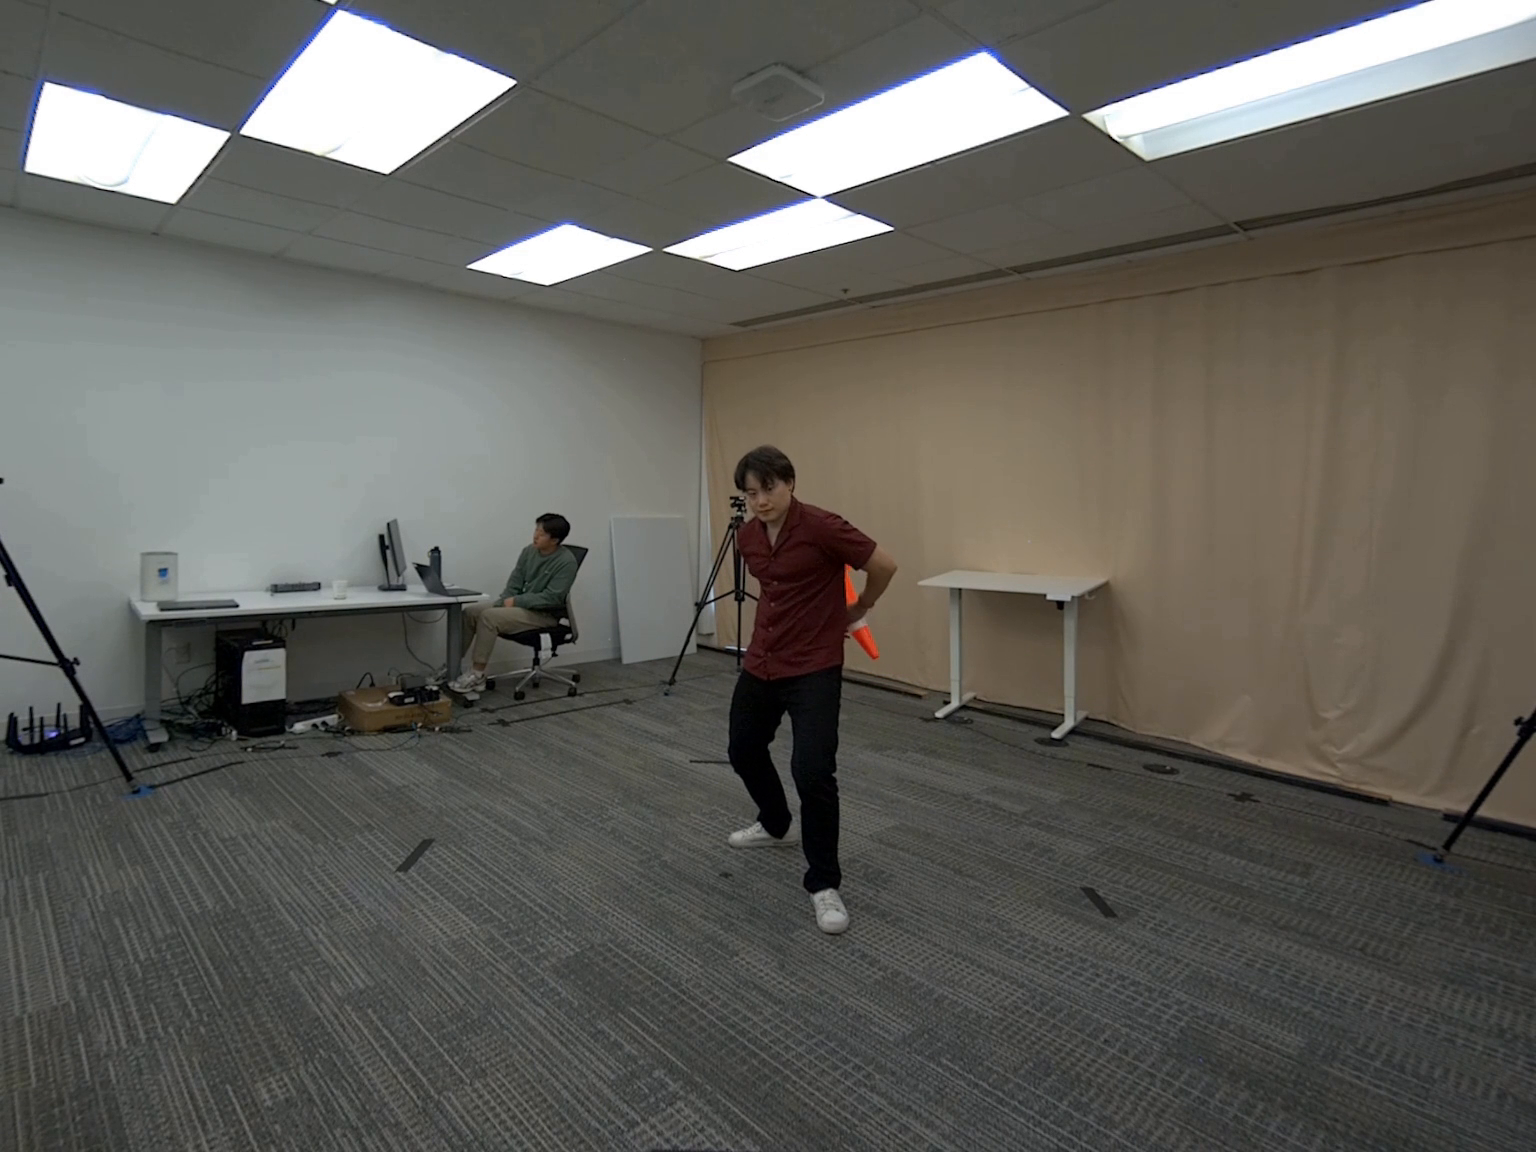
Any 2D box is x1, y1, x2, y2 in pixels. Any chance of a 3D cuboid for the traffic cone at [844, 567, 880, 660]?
[{"bbox_3d":[0.321,0.160,3.301,0.202,0.392,0.202,-17,-24,-28],"label":"traffic cone"}]
